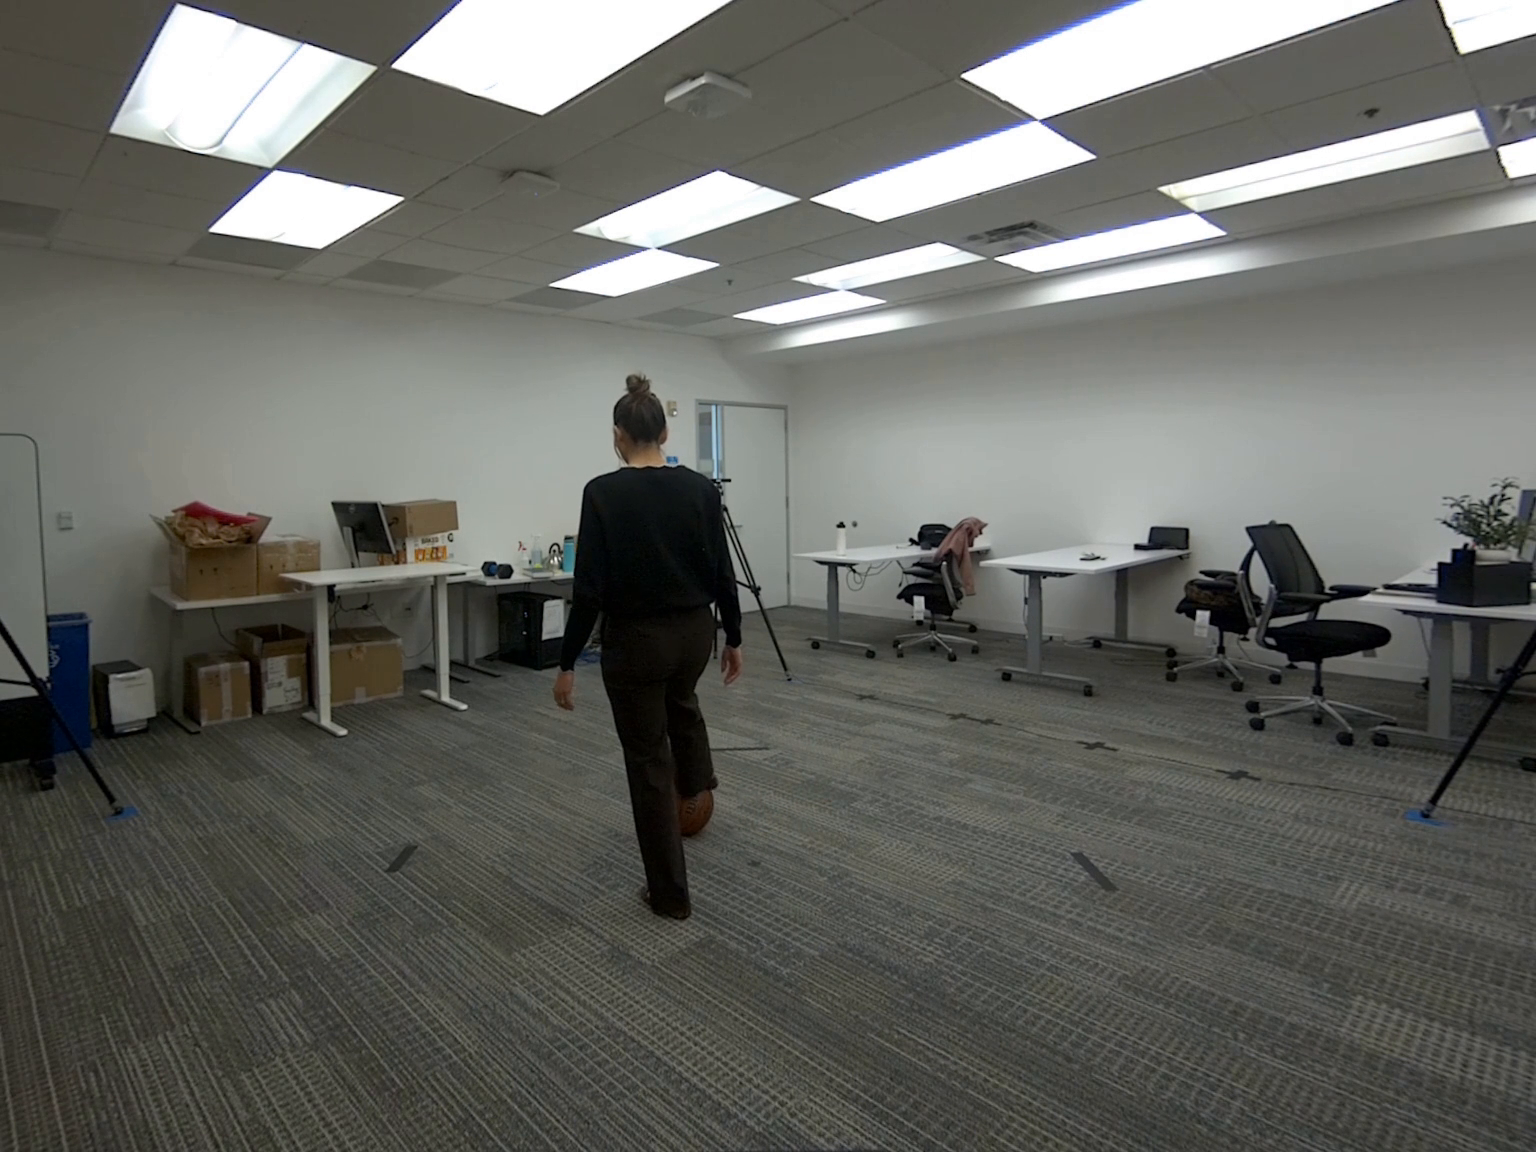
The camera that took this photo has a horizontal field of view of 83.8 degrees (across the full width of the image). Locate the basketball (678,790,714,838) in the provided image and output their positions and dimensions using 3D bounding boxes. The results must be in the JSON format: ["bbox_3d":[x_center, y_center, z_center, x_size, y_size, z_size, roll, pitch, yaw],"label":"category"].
[{"bbox_3d":[-0.341,0.905,3.390,0.236,0.235,0.237,-1,5,-2],"label":"basketball"}]
